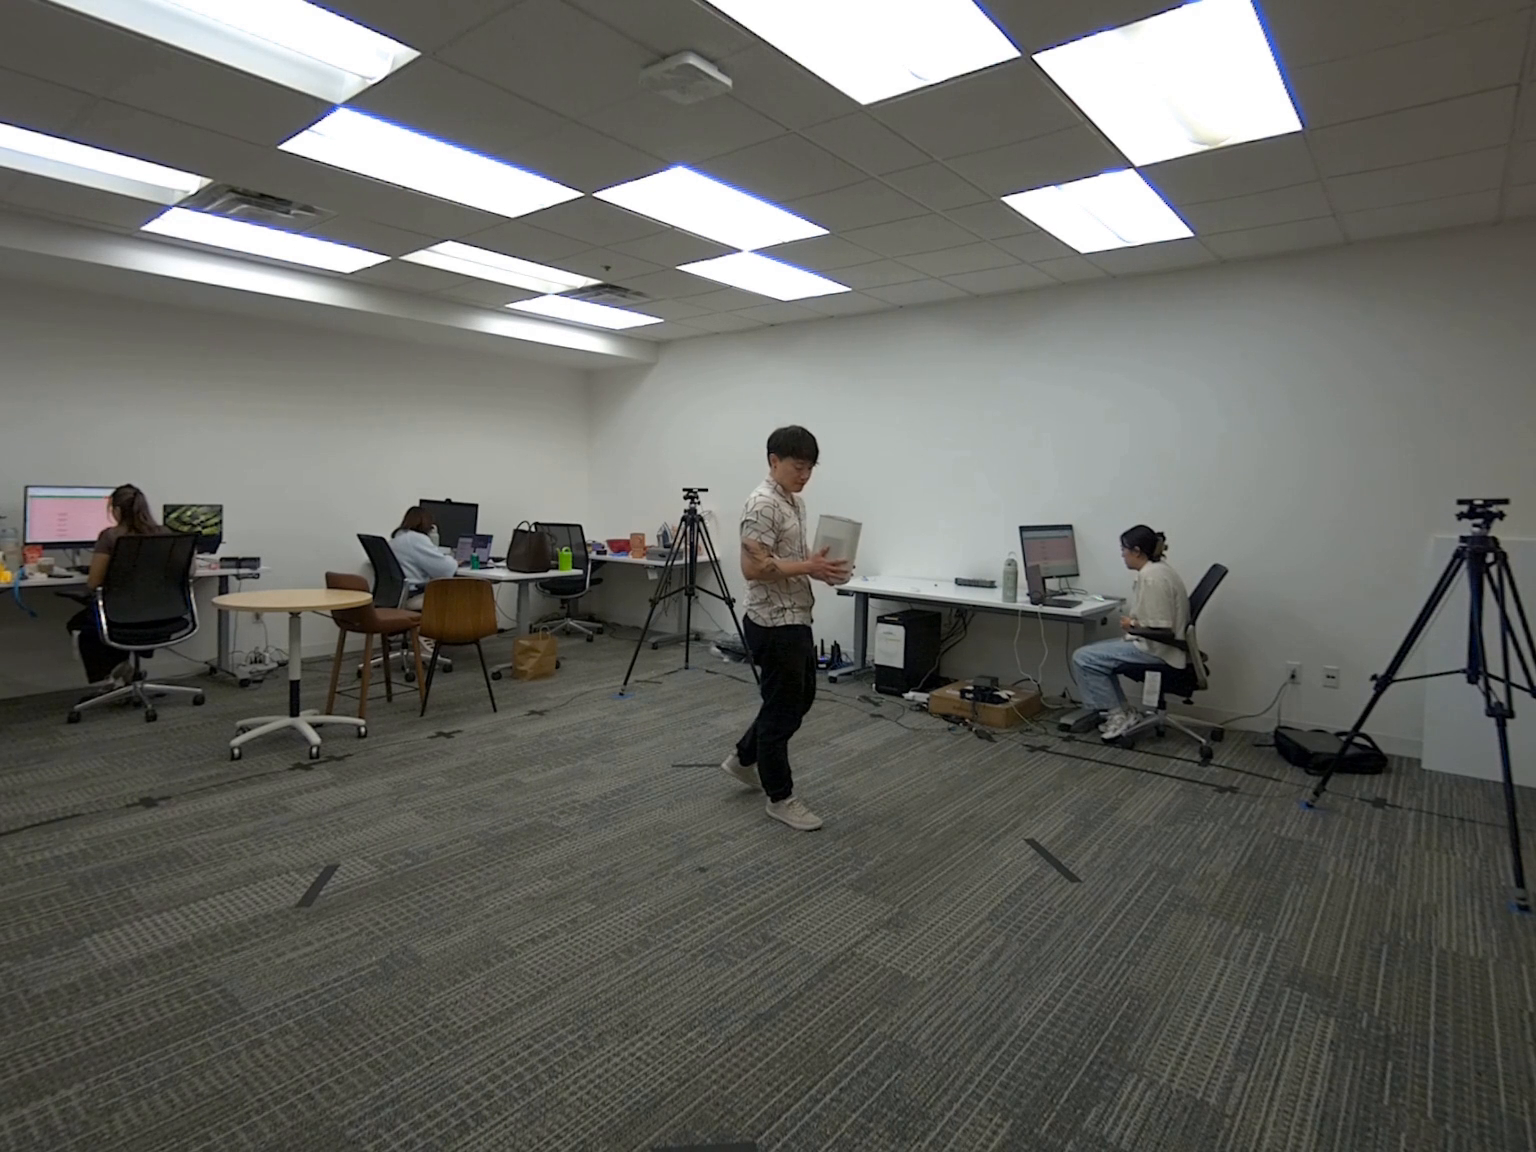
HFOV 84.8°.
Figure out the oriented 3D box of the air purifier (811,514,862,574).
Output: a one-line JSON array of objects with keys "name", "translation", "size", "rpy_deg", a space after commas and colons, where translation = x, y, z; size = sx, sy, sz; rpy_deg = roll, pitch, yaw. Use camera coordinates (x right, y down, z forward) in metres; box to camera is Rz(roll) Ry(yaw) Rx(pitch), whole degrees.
[{"name": "air purifier", "translation": [0.260, -0.115, 3.518], "size": [0.172, 0.264, 0.171], "rpy_deg": [12, 5, 3]}]
